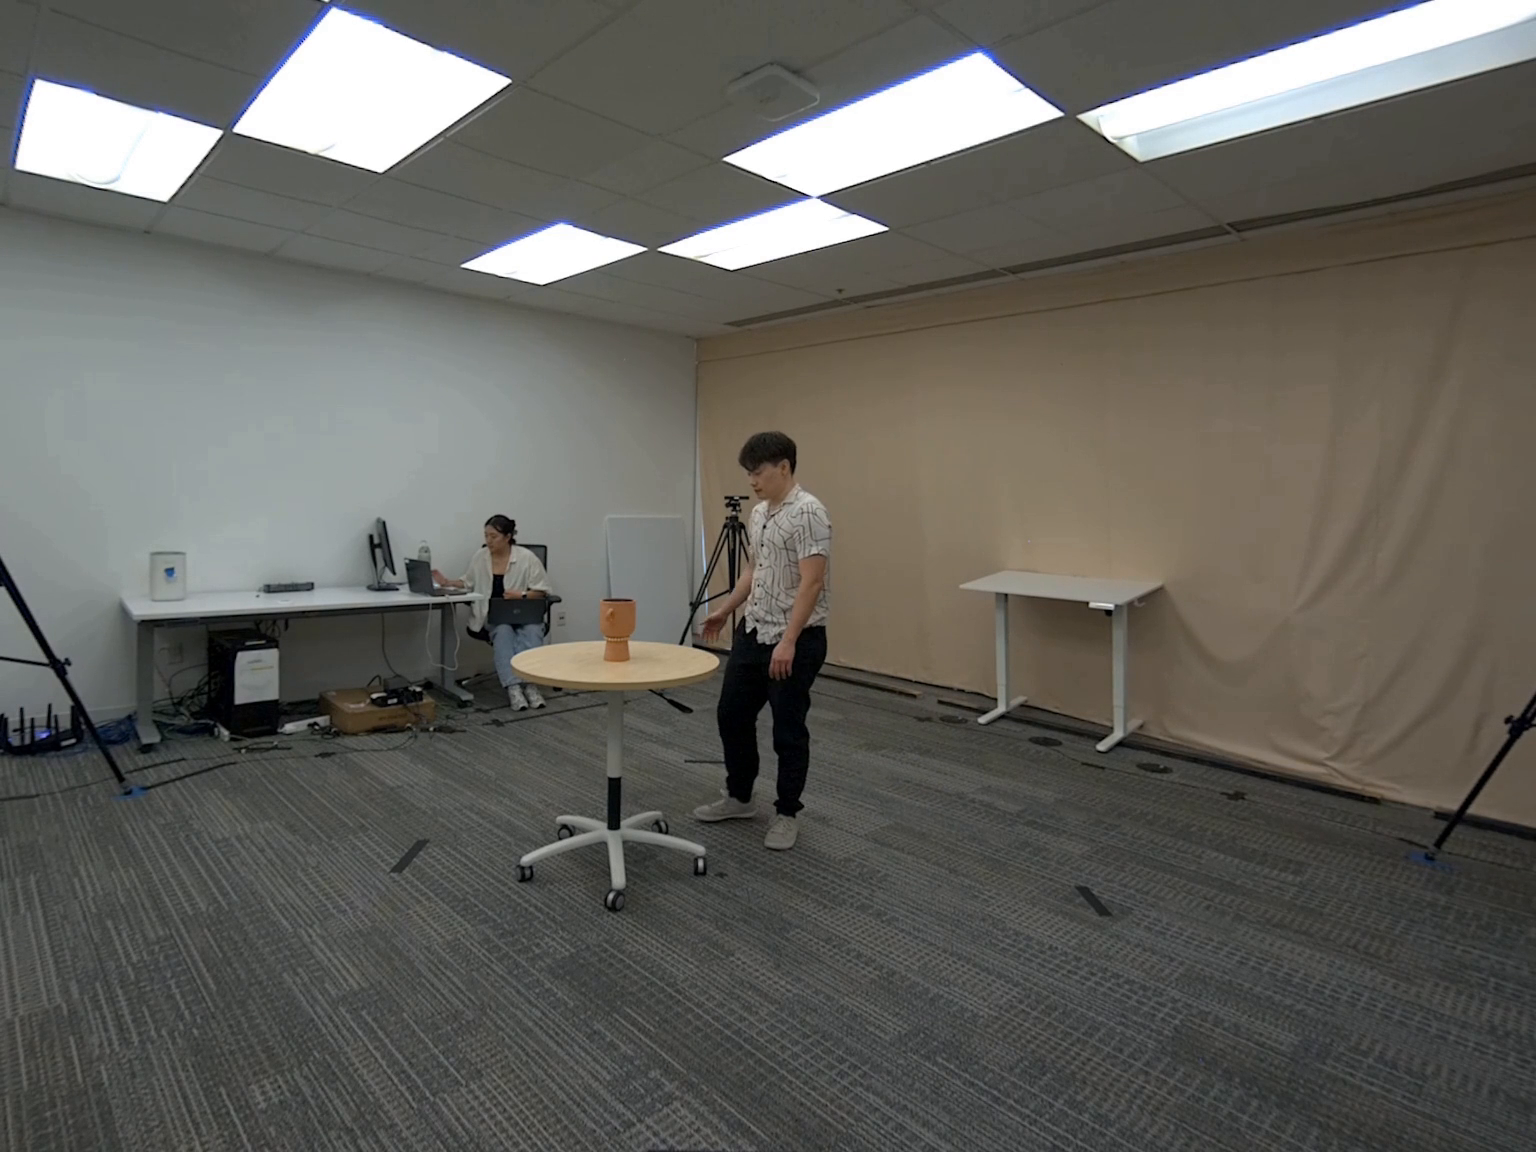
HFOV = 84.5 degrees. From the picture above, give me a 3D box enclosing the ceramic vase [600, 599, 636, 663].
[{"bbox_3d":[-0.570,0.201,3.120,0.155,0.219,0.138,-1,5,-39],"label":"ceramic vase"}]
